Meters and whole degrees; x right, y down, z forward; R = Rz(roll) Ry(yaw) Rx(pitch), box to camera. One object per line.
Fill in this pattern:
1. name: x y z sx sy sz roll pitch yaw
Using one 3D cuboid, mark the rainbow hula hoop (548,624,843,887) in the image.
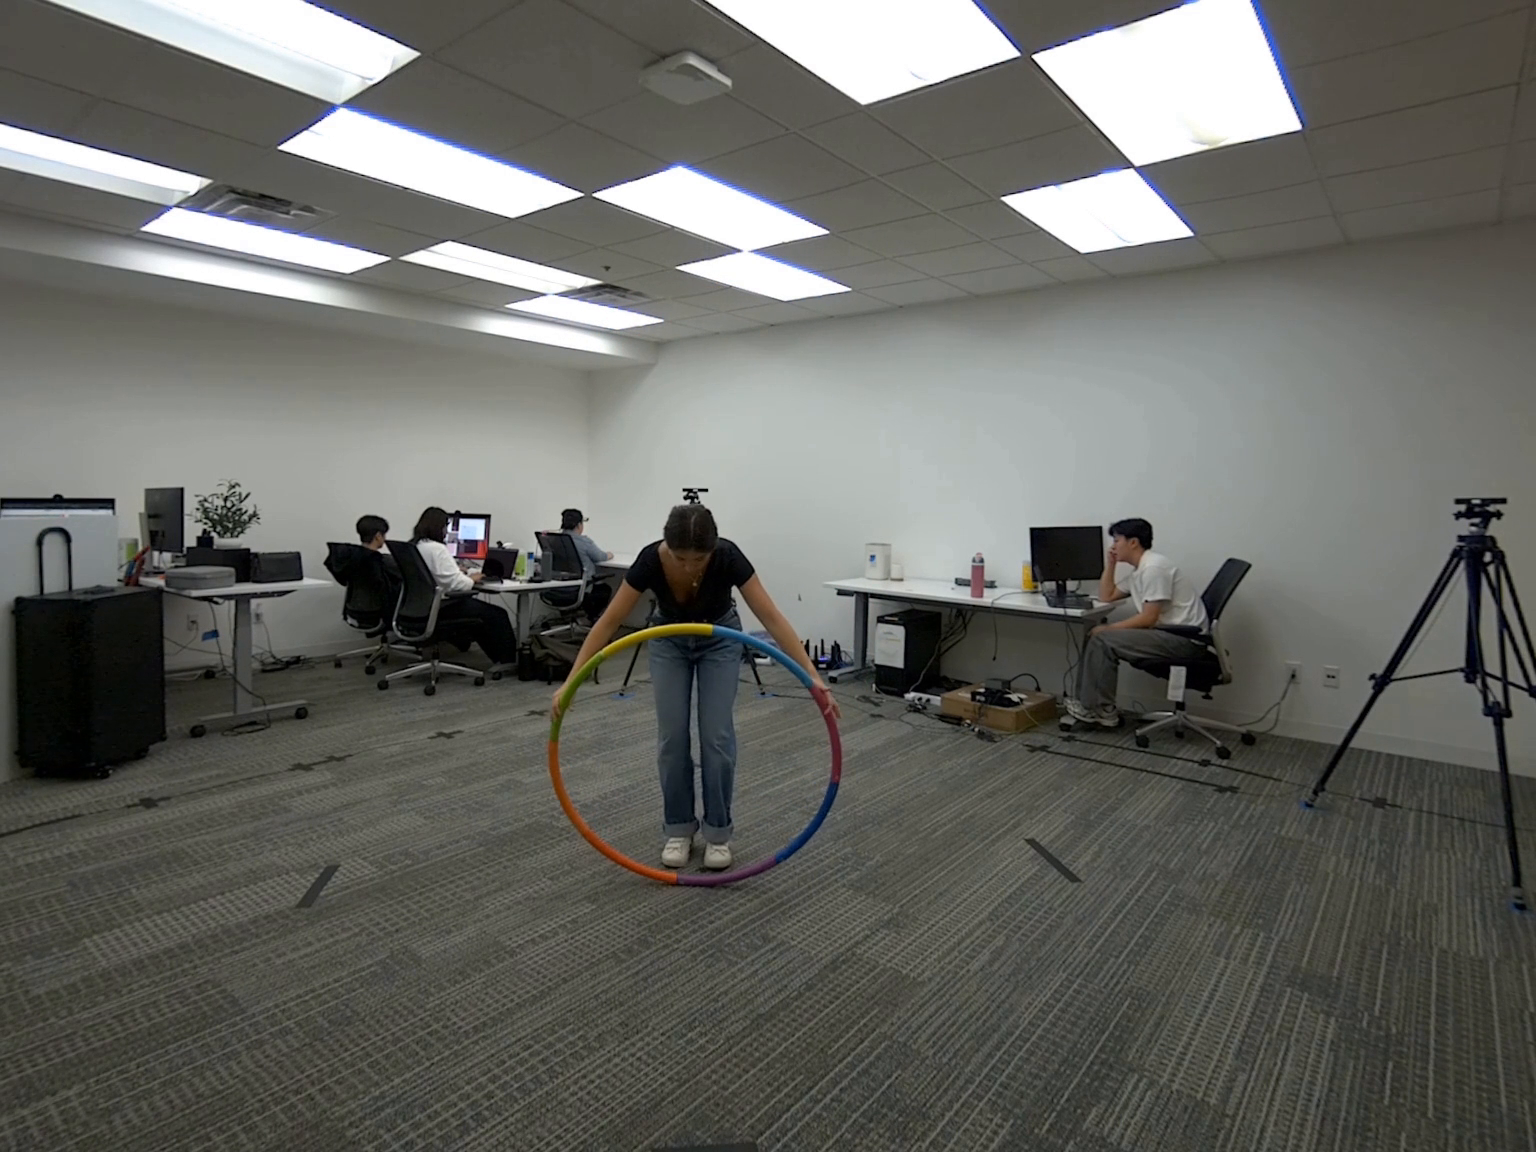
1. rainbow hula hoop: -0.246 0.612 2.850 0.982 0.962 0.036 2 18 3
